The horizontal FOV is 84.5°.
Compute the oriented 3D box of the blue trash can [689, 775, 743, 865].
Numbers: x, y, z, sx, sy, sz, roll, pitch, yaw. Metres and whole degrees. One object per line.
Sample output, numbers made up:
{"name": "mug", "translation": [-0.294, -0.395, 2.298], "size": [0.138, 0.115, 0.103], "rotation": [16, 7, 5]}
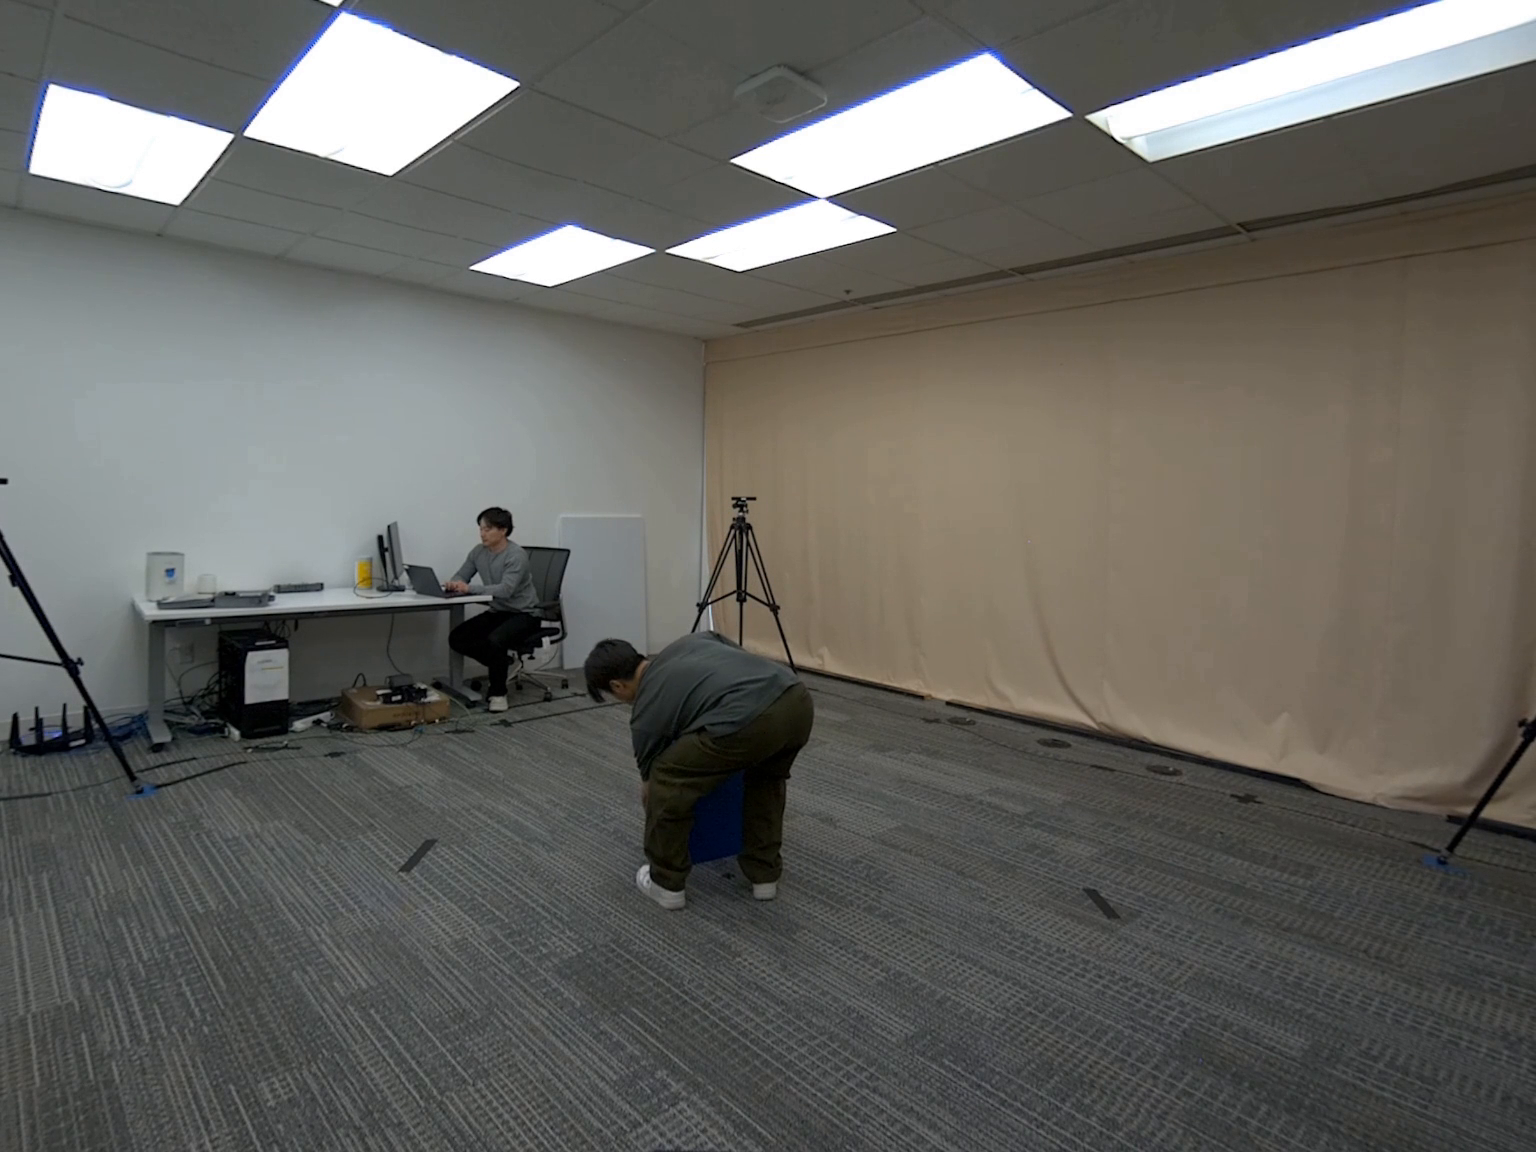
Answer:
{"name": "blue trash can", "translation": [-0.260, 0.725, 3.374], "size": [0.366, 0.711, 0.387], "rotation": [-2, 5, -35]}
